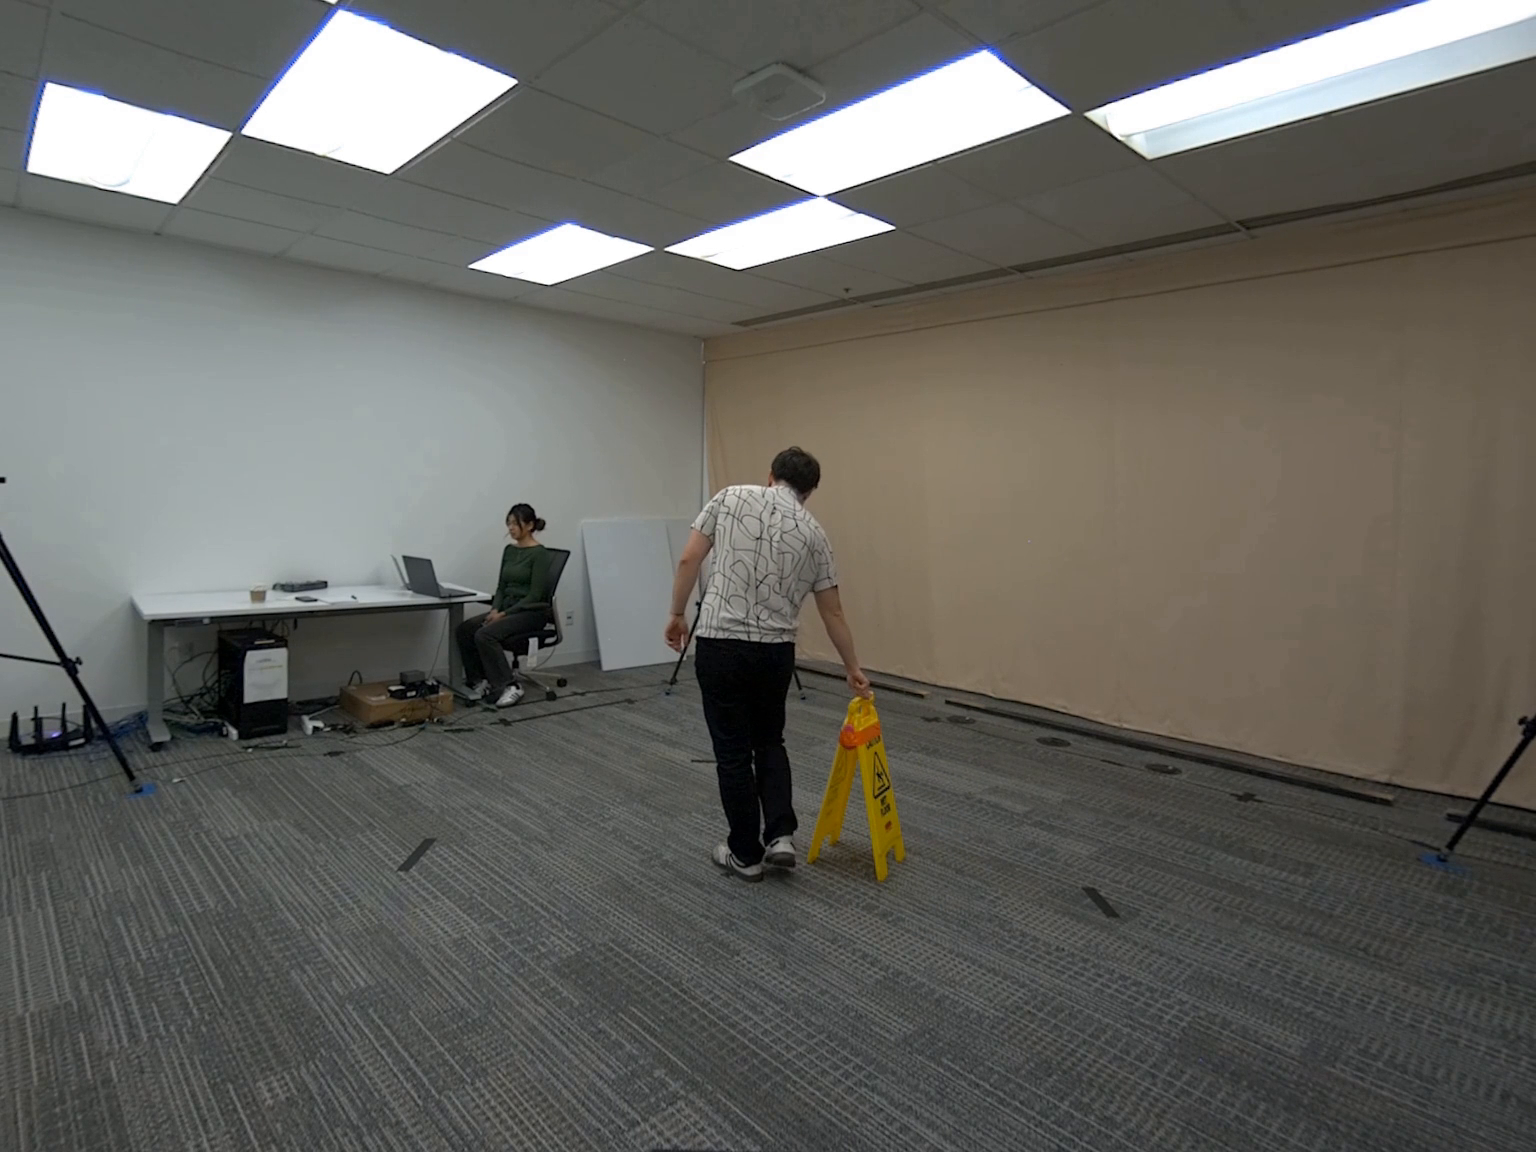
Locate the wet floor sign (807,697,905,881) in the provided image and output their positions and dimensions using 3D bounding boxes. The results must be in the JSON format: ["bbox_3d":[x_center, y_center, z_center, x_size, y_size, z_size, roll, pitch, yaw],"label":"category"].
[{"bbox_3d":[0.340,0.776,3.244,0.296,0.645,0.277,2,2,29],"label":"wet floor sign"}]
